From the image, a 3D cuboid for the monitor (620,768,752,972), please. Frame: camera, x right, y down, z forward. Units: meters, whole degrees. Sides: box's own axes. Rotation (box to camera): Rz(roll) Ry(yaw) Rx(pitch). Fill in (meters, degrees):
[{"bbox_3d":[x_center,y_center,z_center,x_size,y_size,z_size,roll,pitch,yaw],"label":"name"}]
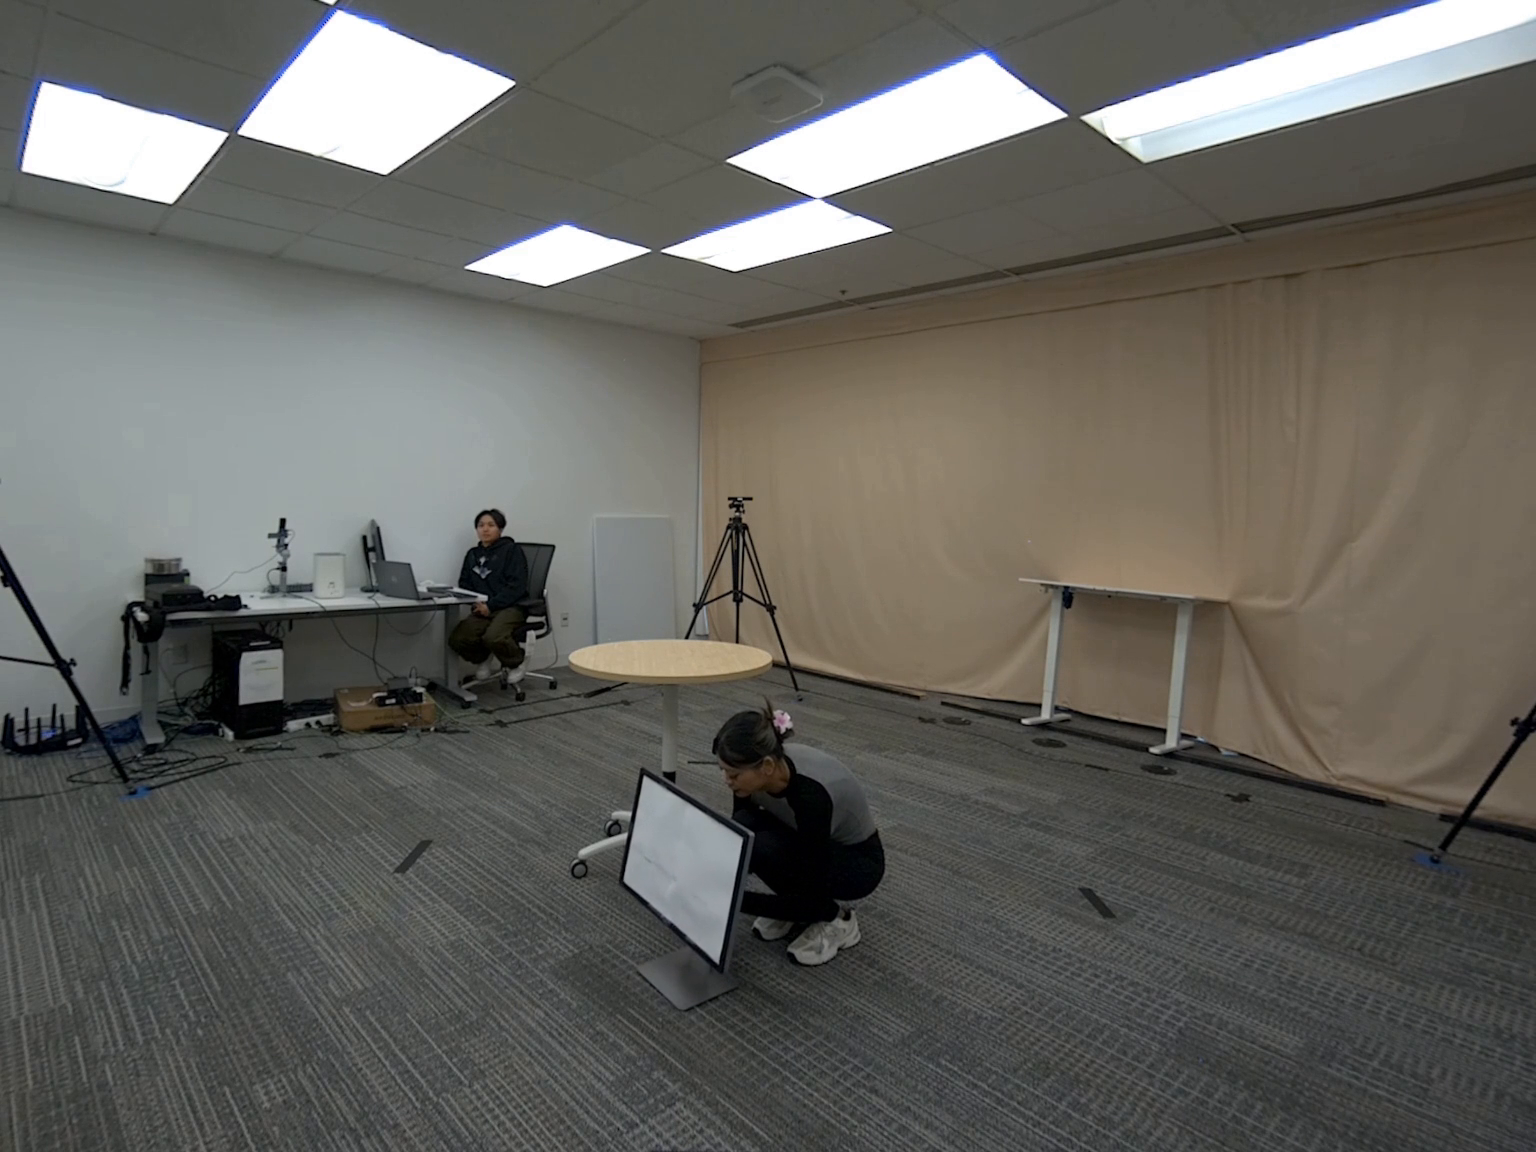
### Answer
[{"bbox_3d":[-0.225,0.908,2.389,0.183,0.520,0.553,-3,7,-39],"label":"monitor"}]
